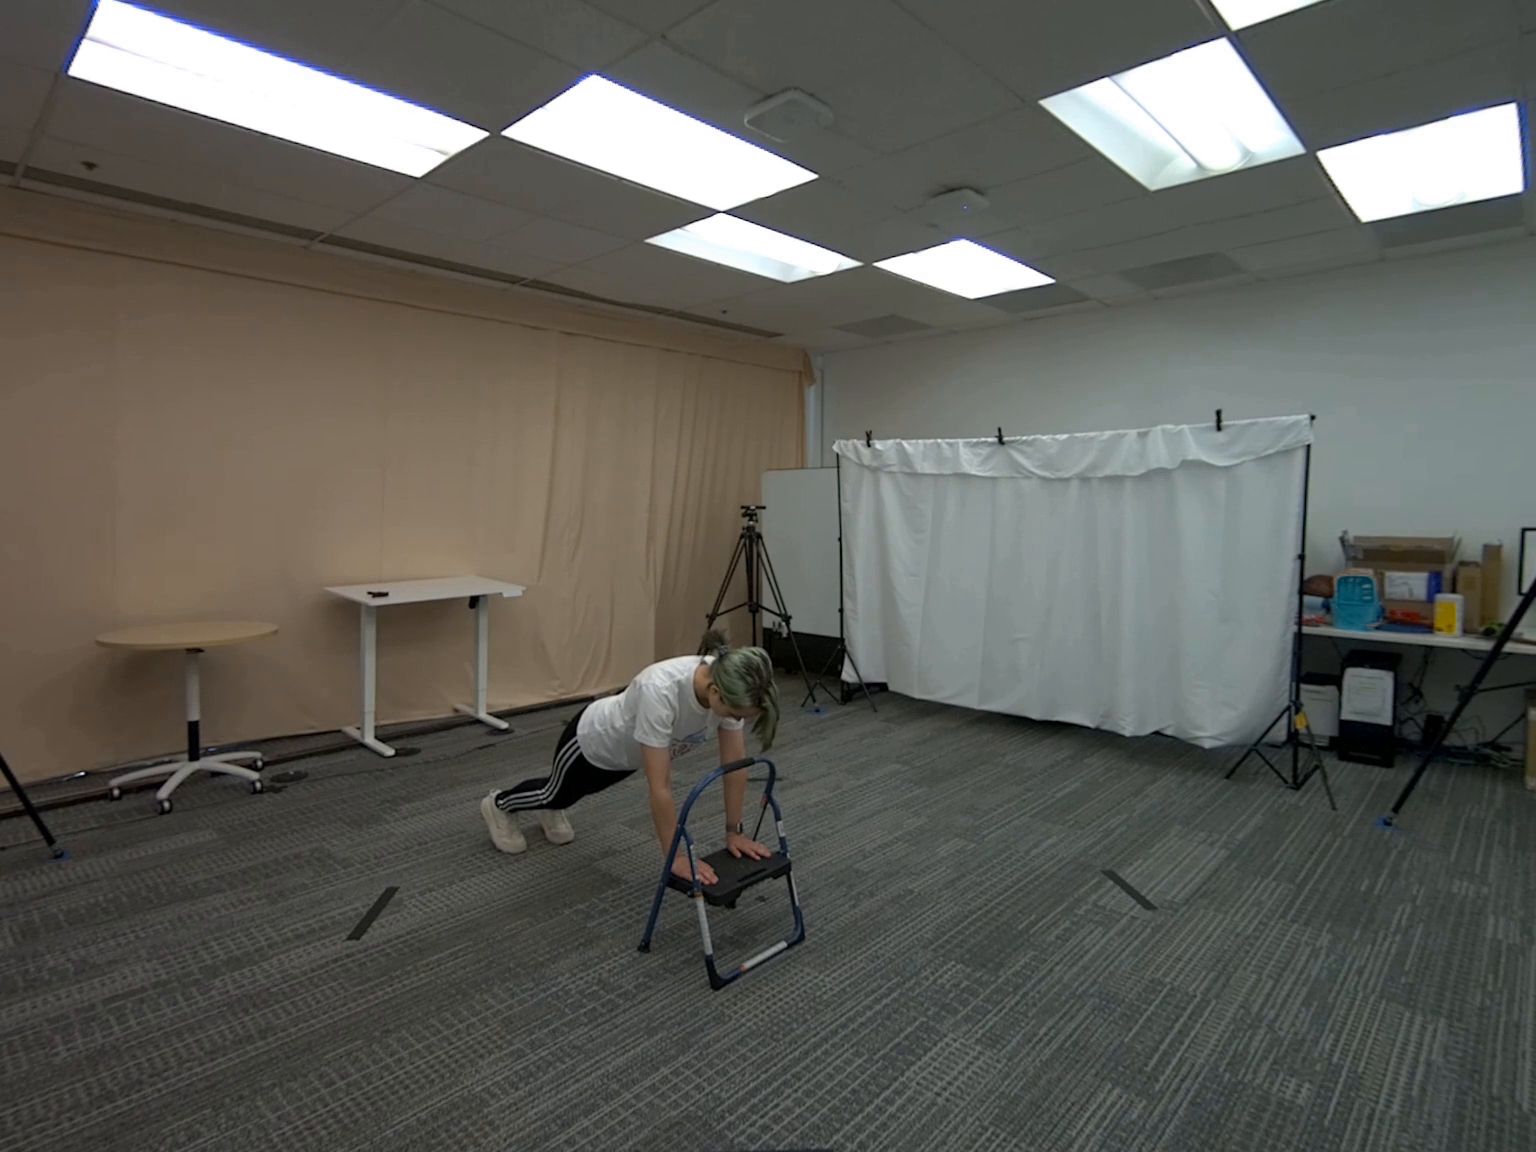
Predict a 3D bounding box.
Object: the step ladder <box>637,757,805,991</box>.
[{"bbox_3d":[-0.139,0.870,2.661,0.361,0.605,0.417,3,4,42],"label":"step ladder"}]
